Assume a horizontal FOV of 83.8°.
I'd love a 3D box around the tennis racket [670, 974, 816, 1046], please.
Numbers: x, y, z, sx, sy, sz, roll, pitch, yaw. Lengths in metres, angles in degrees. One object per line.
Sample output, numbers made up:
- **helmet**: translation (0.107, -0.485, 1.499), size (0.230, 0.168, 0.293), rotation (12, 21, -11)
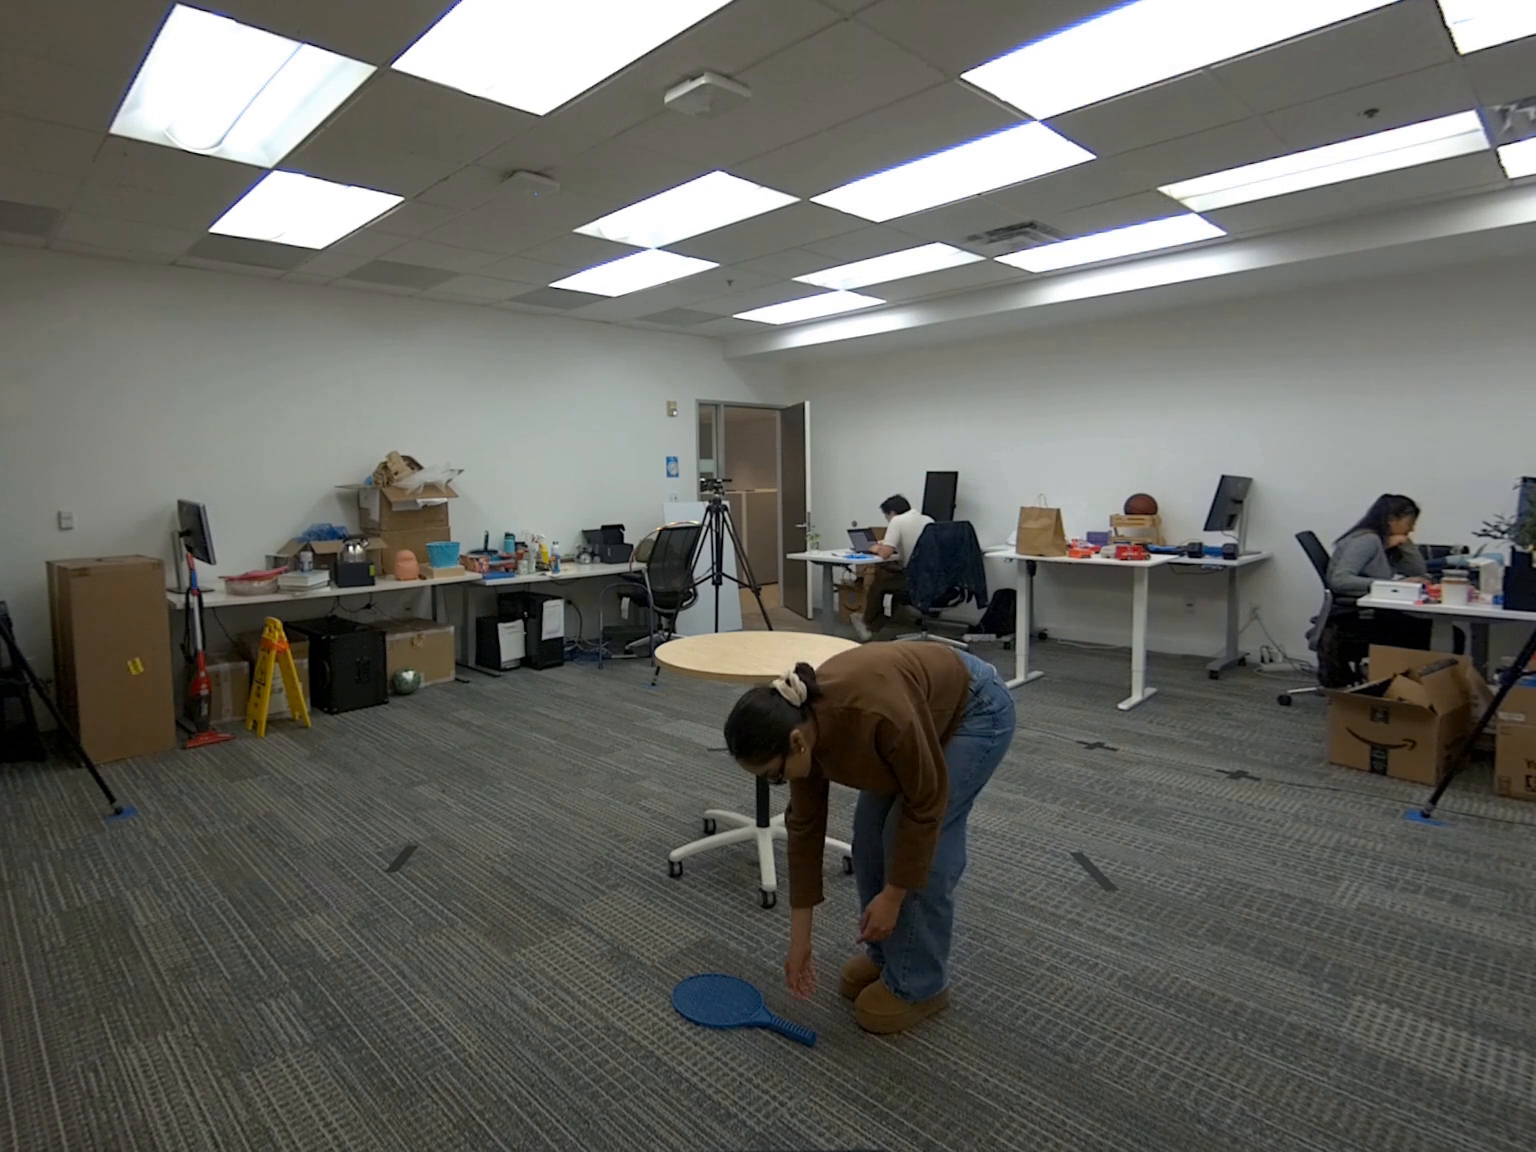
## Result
- **tennis racket**: translation (-0.060, 1.134, 2.234), size (0.445, 0.031, 0.208), rotation (2, 8, 38)
